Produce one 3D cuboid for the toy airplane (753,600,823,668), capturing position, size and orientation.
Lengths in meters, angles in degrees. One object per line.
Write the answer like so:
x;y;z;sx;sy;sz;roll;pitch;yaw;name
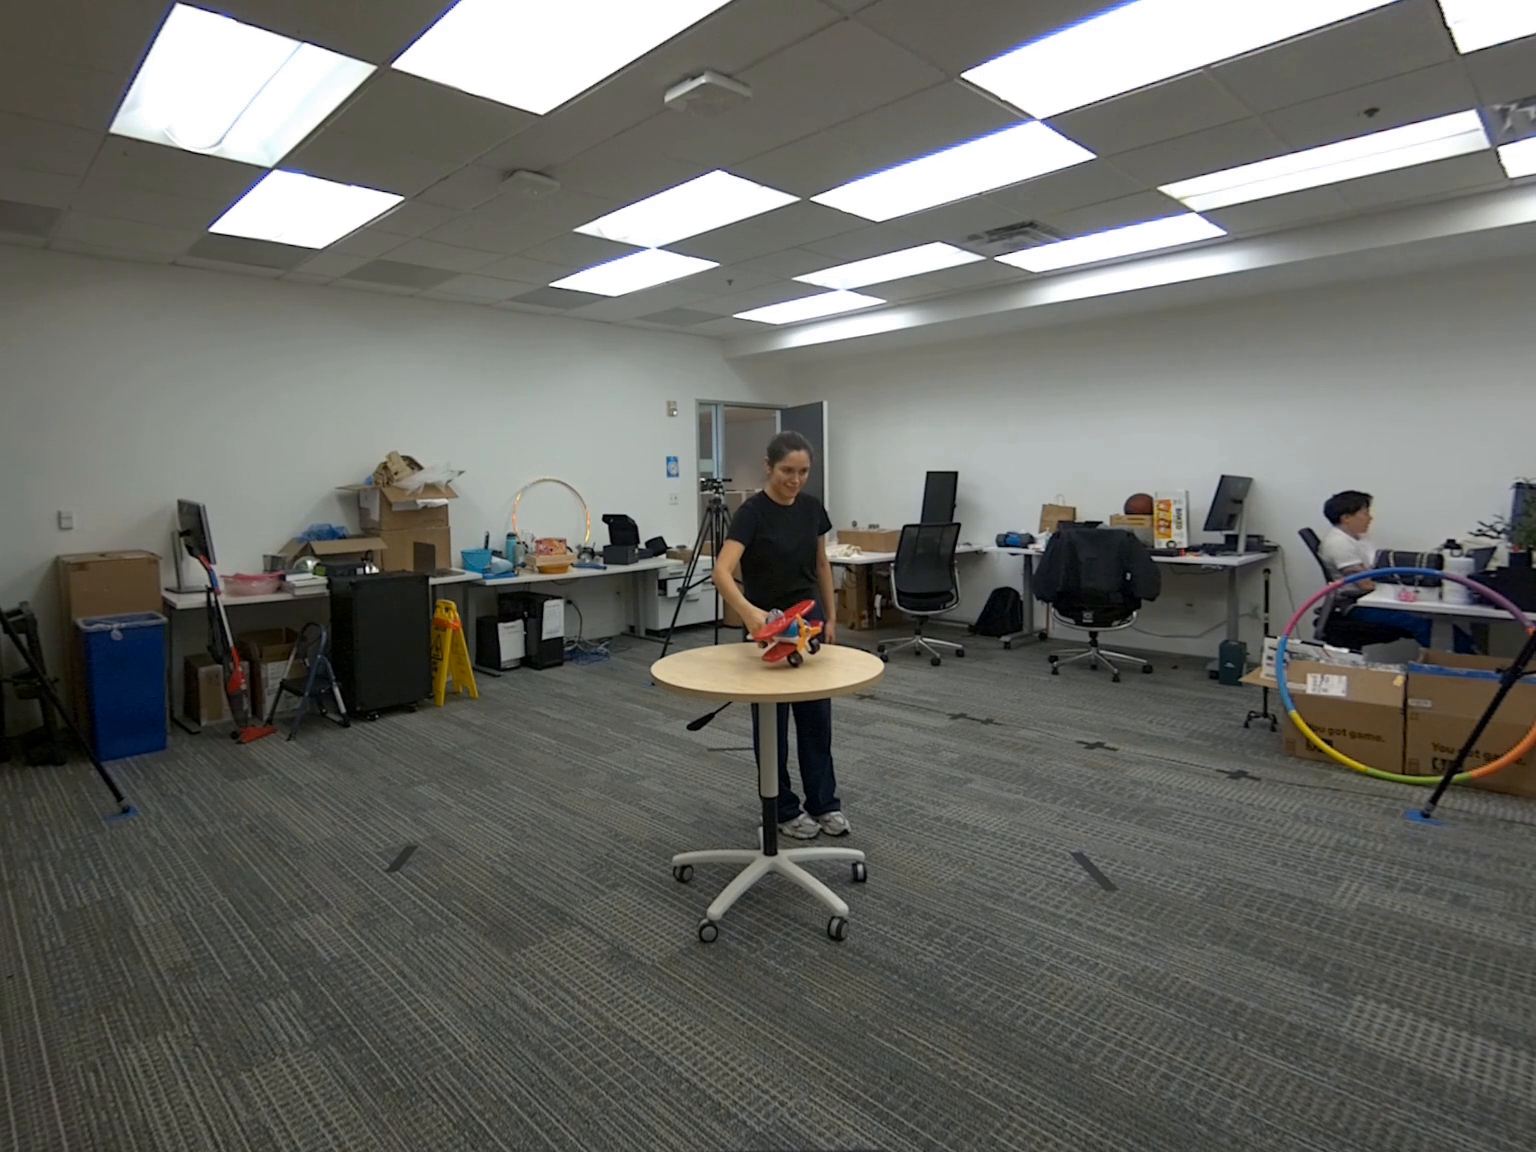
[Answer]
0.034;0.197;2.838;0.264;0.152;0.253;-2;28;20;toy airplane
